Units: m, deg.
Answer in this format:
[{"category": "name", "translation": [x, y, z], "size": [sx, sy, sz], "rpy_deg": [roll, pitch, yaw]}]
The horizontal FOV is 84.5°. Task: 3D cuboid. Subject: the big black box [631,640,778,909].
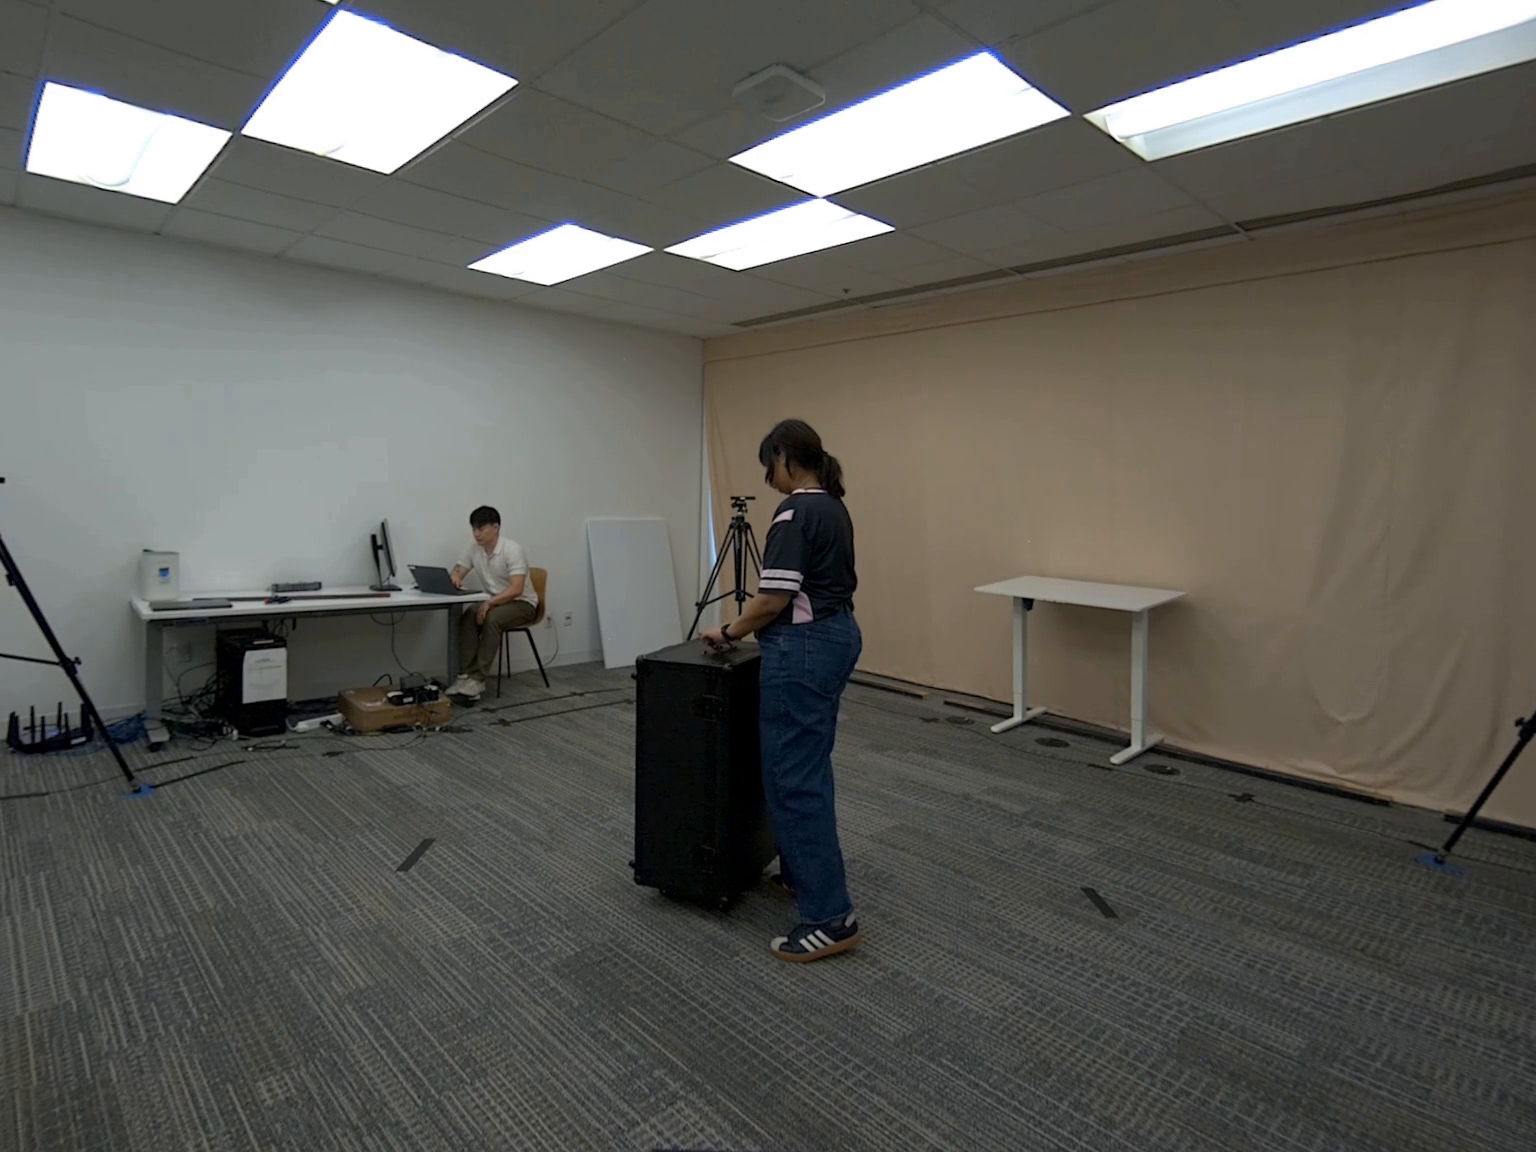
[{"category": "big black box", "translation": [-0.214, 0.693, 2.991], "size": [0.403, 0.859, 0.513], "rpy_deg": [2, 3, 24]}]
